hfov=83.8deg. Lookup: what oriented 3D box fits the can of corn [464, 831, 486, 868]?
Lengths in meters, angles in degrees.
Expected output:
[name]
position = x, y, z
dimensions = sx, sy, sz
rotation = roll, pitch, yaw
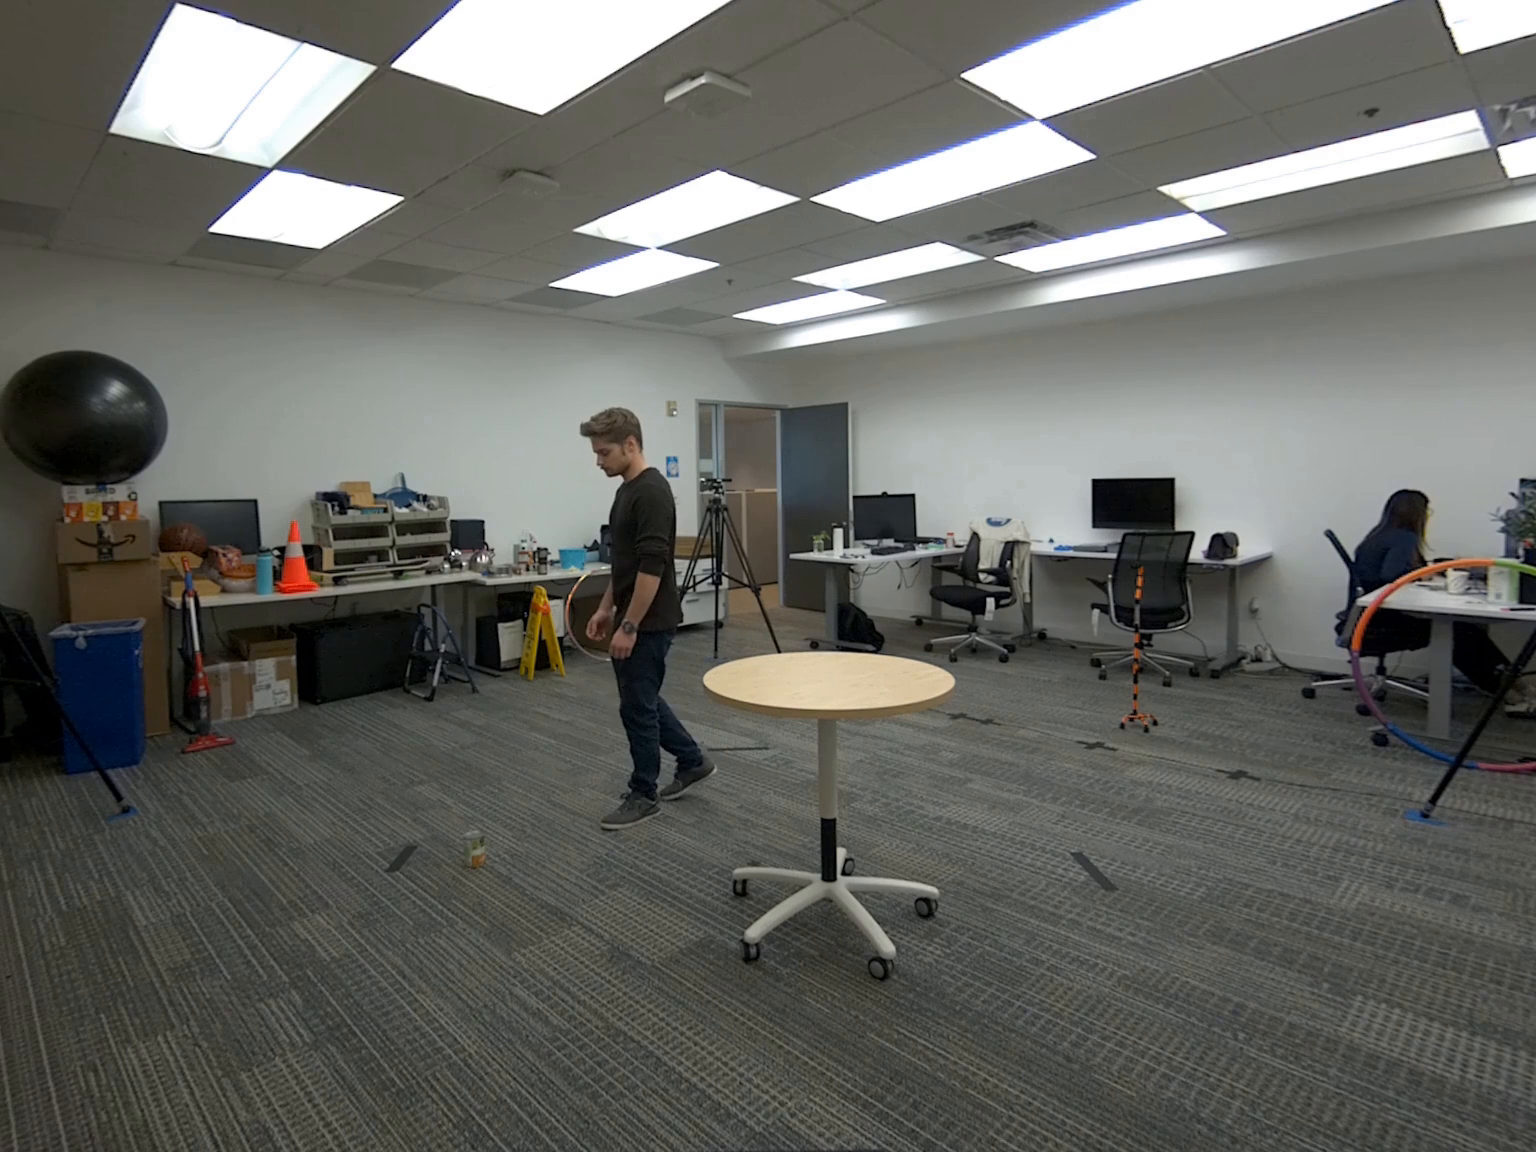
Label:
[can of corn]
position = -1.082, 1.008, 3.149
dimensions = 0.074, 0.111, 0.074
rotation = -7, 3, -1
